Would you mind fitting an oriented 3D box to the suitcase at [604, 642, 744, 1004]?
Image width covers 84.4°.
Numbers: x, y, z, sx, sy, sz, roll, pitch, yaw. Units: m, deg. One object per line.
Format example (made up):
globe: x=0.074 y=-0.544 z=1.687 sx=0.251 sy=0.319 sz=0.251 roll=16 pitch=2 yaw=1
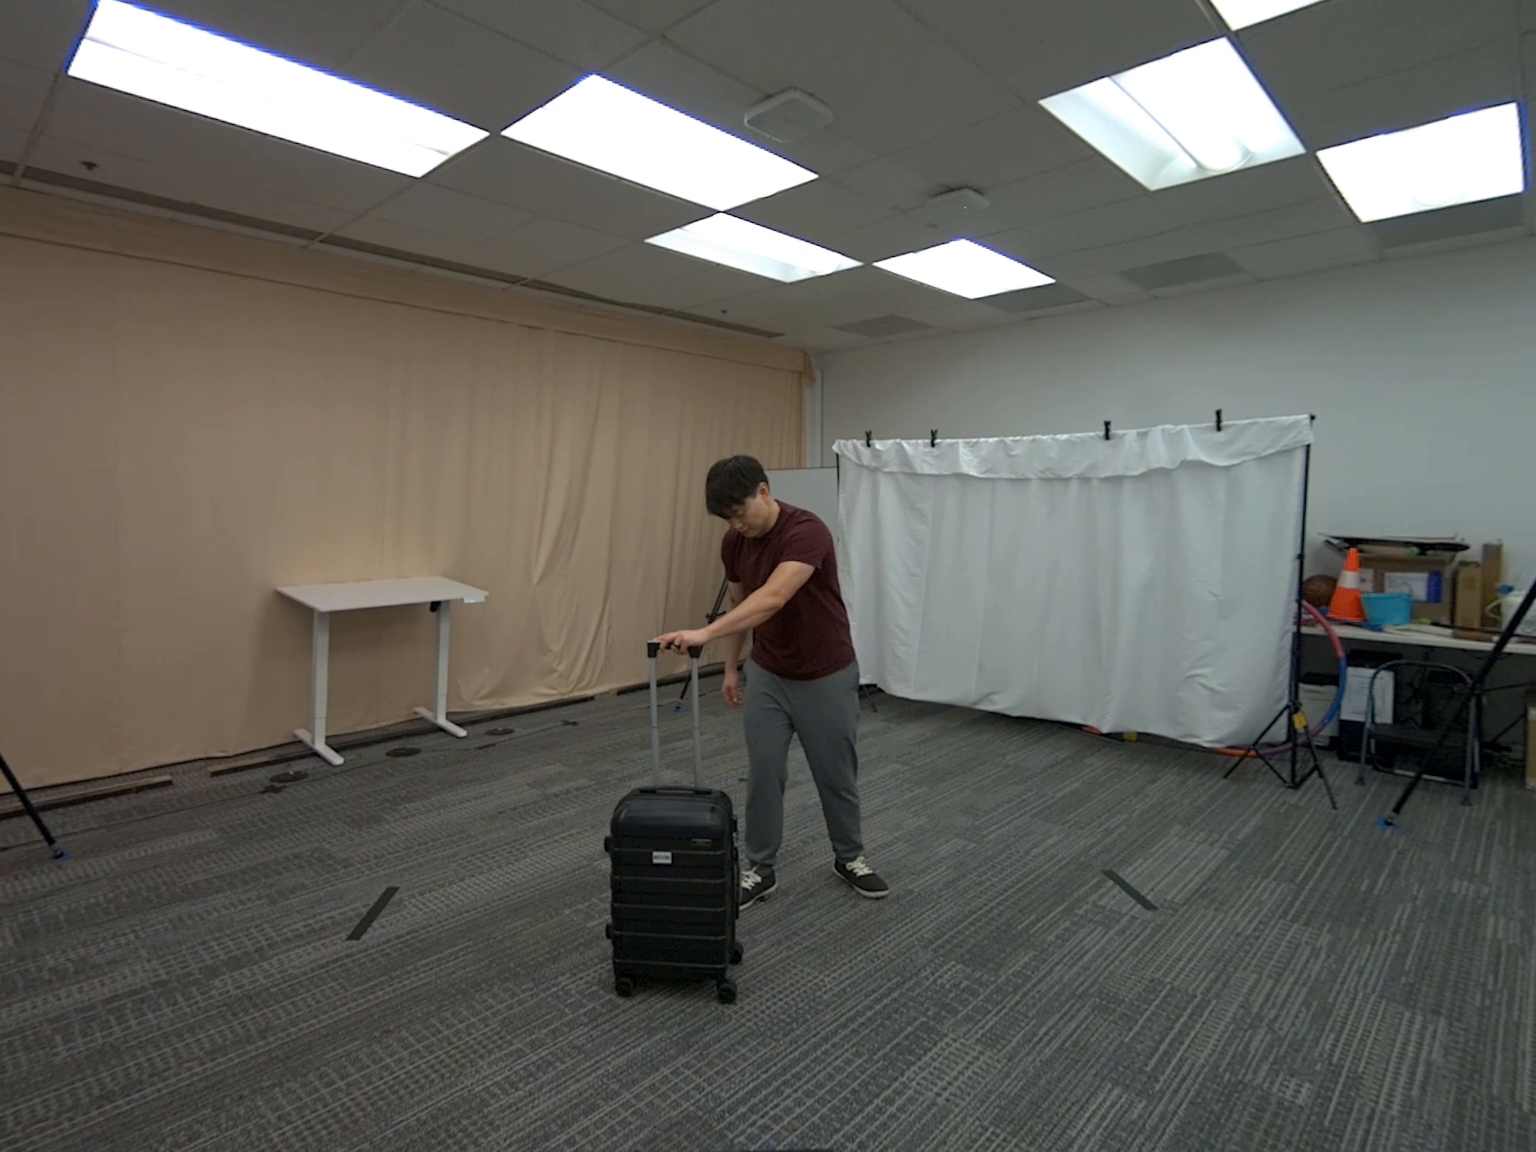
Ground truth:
suitcase: x=-0.279 y=0.711 z=2.467 sx=0.386 sy=0.976 sz=0.256 roll=-2 pitch=3 yaw=5
